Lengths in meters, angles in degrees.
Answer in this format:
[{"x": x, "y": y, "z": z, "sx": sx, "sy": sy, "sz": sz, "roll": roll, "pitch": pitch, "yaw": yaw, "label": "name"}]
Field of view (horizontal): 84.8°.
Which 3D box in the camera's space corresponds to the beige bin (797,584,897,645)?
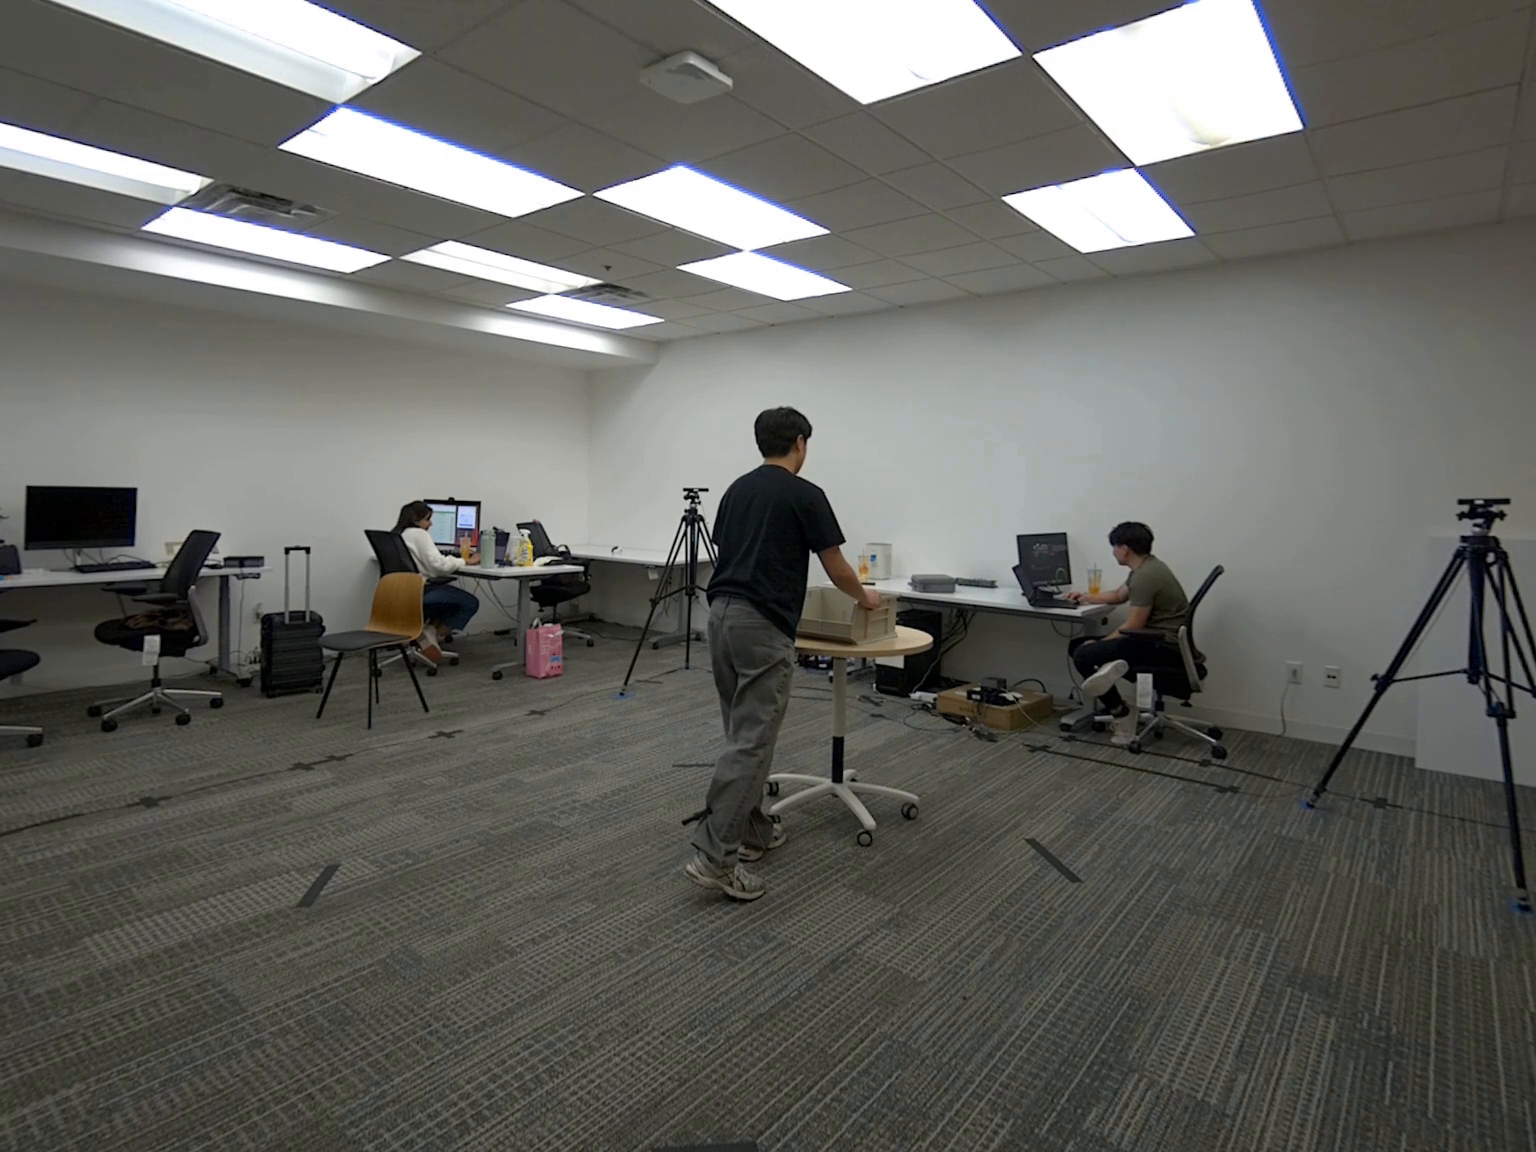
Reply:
[{"x": 0.282, "y": 0.160, "z": 3.601, "sx": 0.436, "sy": 0.188, "sz": 0.366, "roll": 4, "pitch": 5, "yaw": 39, "label": "beige bin"}]
